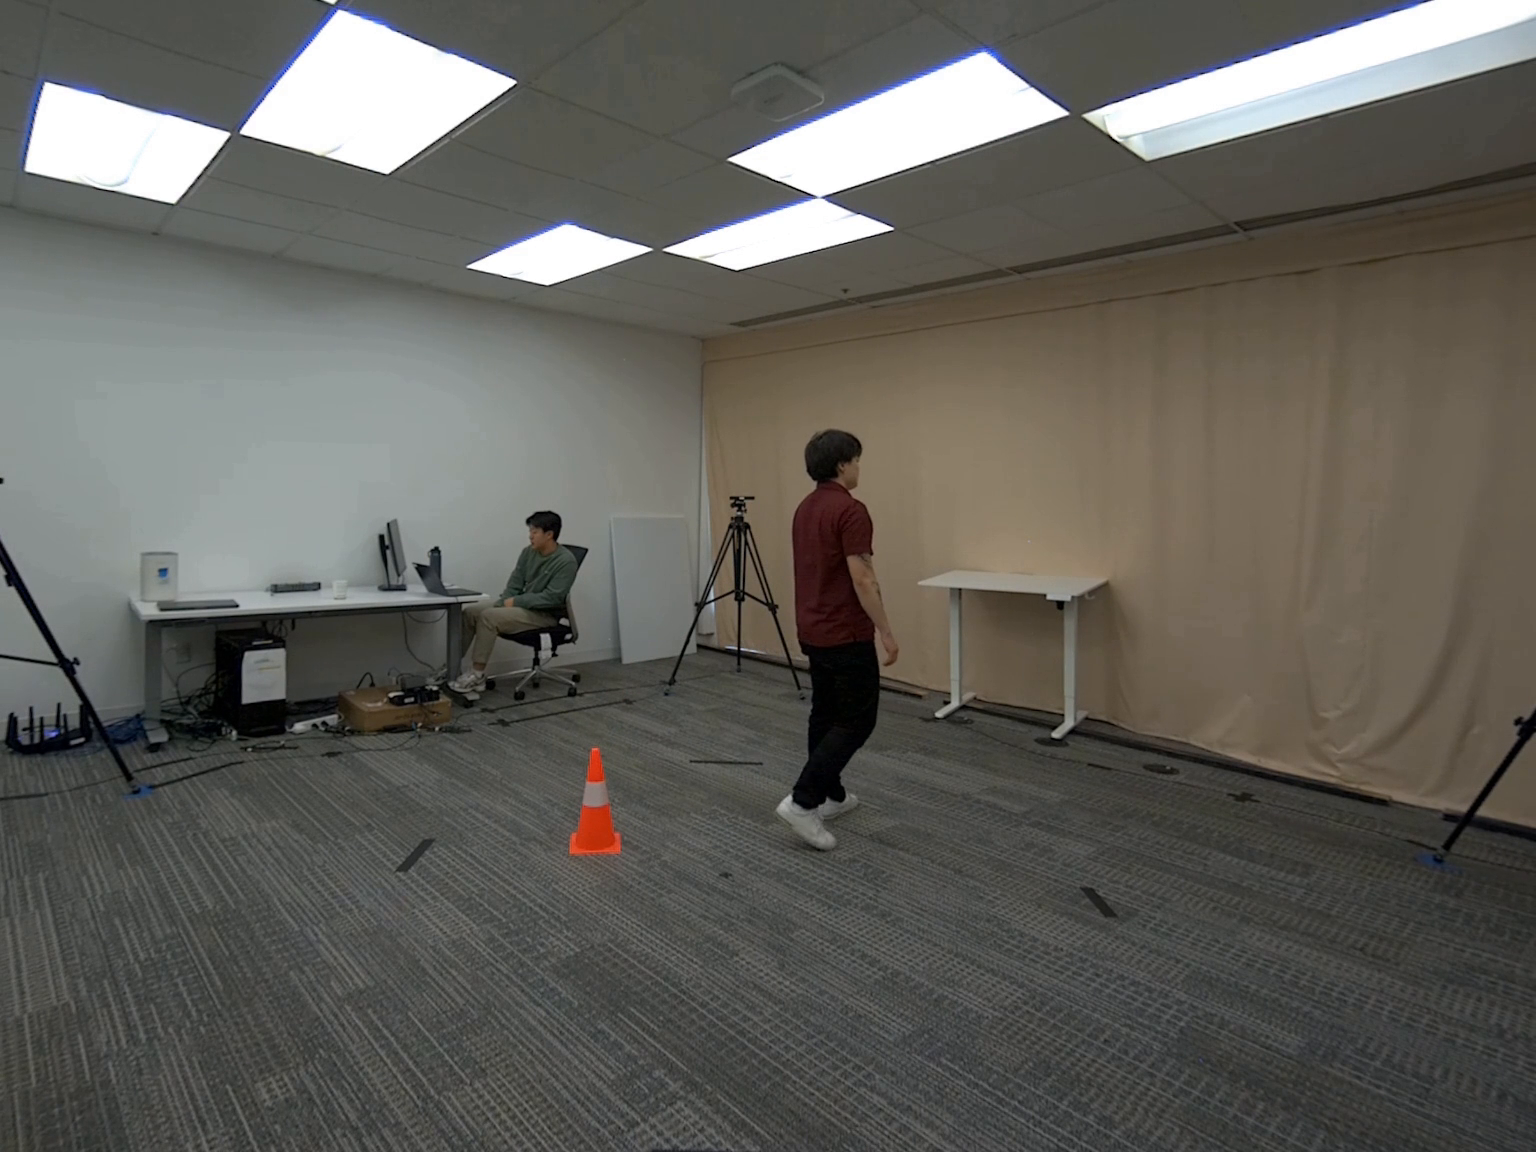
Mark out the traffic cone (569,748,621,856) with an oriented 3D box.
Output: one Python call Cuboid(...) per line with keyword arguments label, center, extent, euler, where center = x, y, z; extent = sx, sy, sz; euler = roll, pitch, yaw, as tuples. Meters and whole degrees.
Cuboid(label="traffic cone", center=(-0.692, 0.883, 3.349), extent=(0.203, 0.382, 0.206), euler=(2, 4, -11))
